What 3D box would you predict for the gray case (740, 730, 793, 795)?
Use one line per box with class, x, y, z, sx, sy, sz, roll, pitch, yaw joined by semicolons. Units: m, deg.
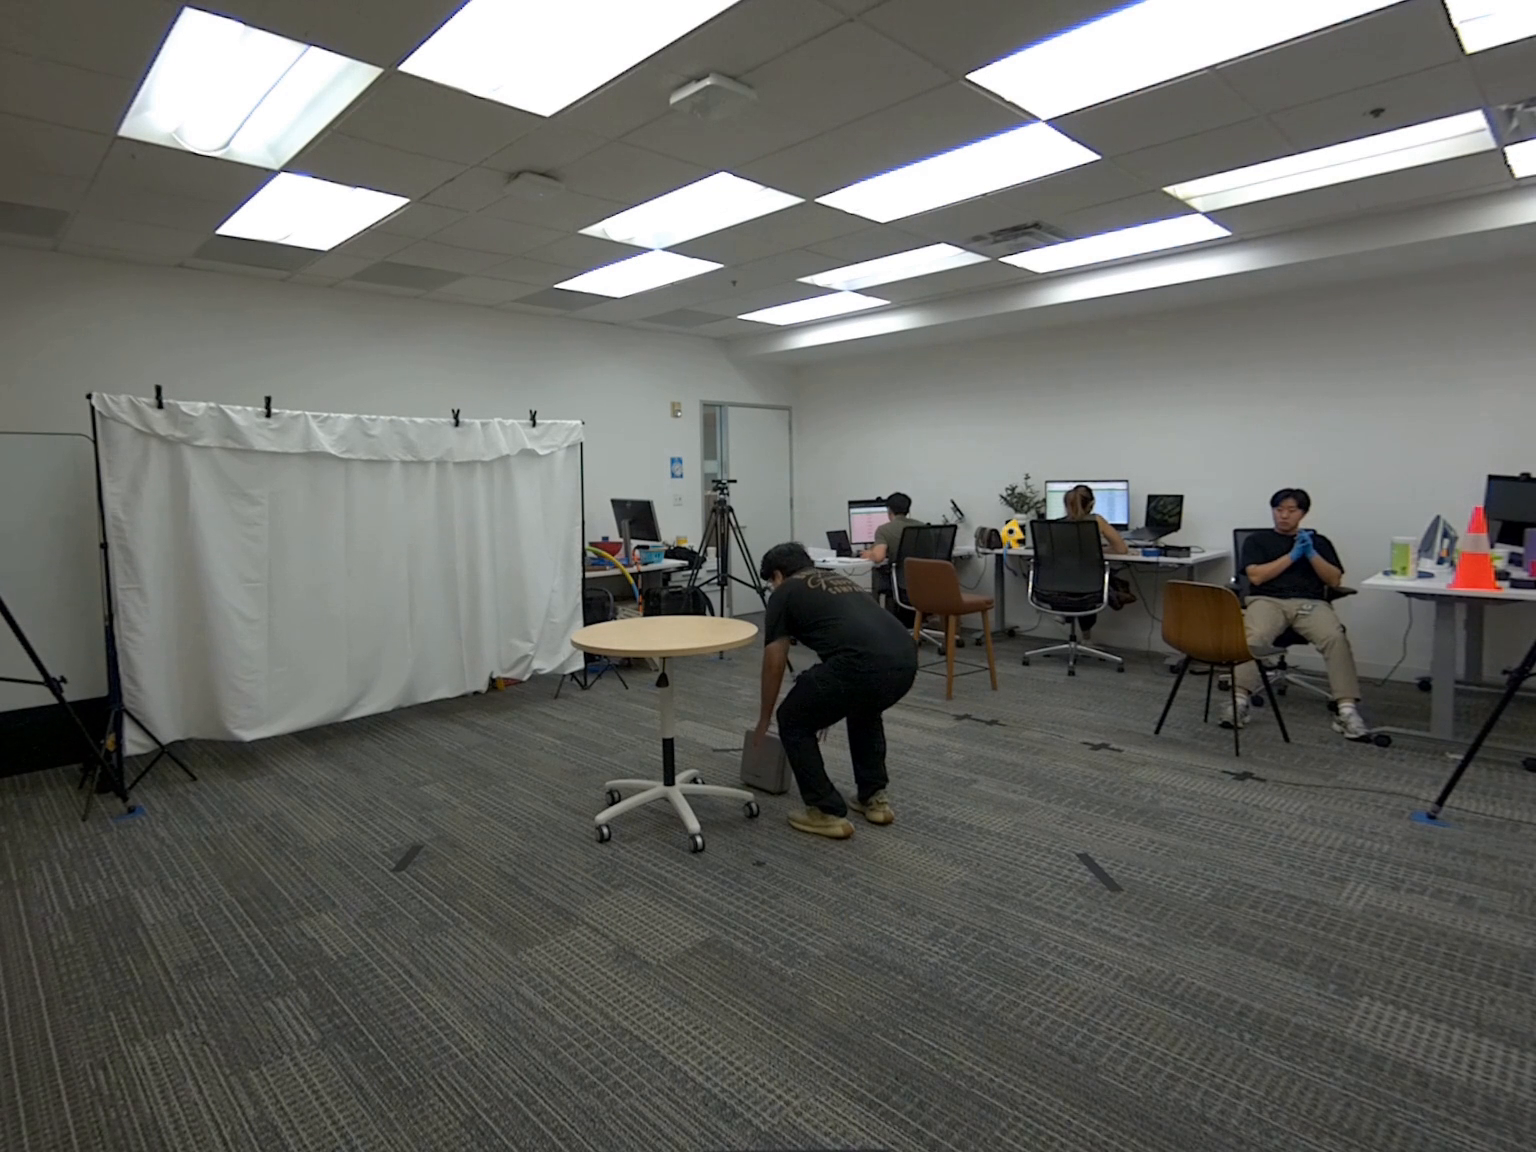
gray case;-0.005;0.826;3.882;0.101;0.261;0.264;8;-4;-40
